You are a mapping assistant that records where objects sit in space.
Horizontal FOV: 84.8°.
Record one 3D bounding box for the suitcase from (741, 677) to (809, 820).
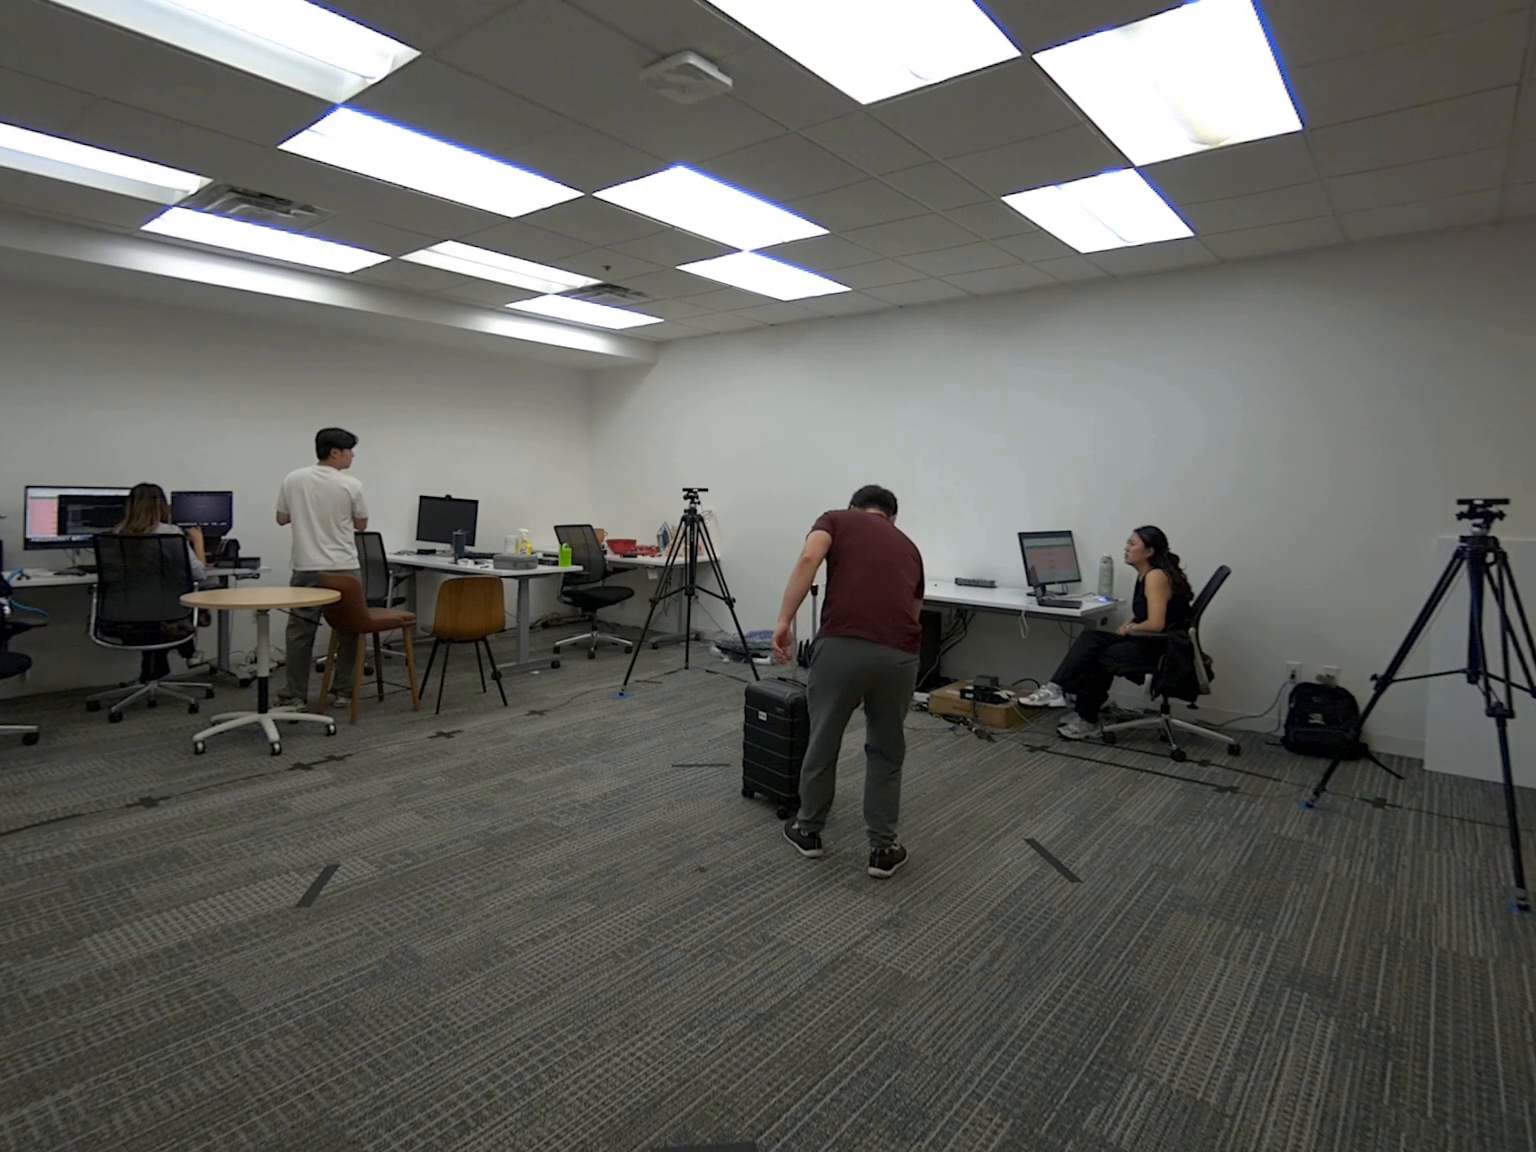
[{"bbox_3d":[0.065,0.534,3.765,0.250,0.975,0.396,-3,5,-35],"label":"suitcase"}]
